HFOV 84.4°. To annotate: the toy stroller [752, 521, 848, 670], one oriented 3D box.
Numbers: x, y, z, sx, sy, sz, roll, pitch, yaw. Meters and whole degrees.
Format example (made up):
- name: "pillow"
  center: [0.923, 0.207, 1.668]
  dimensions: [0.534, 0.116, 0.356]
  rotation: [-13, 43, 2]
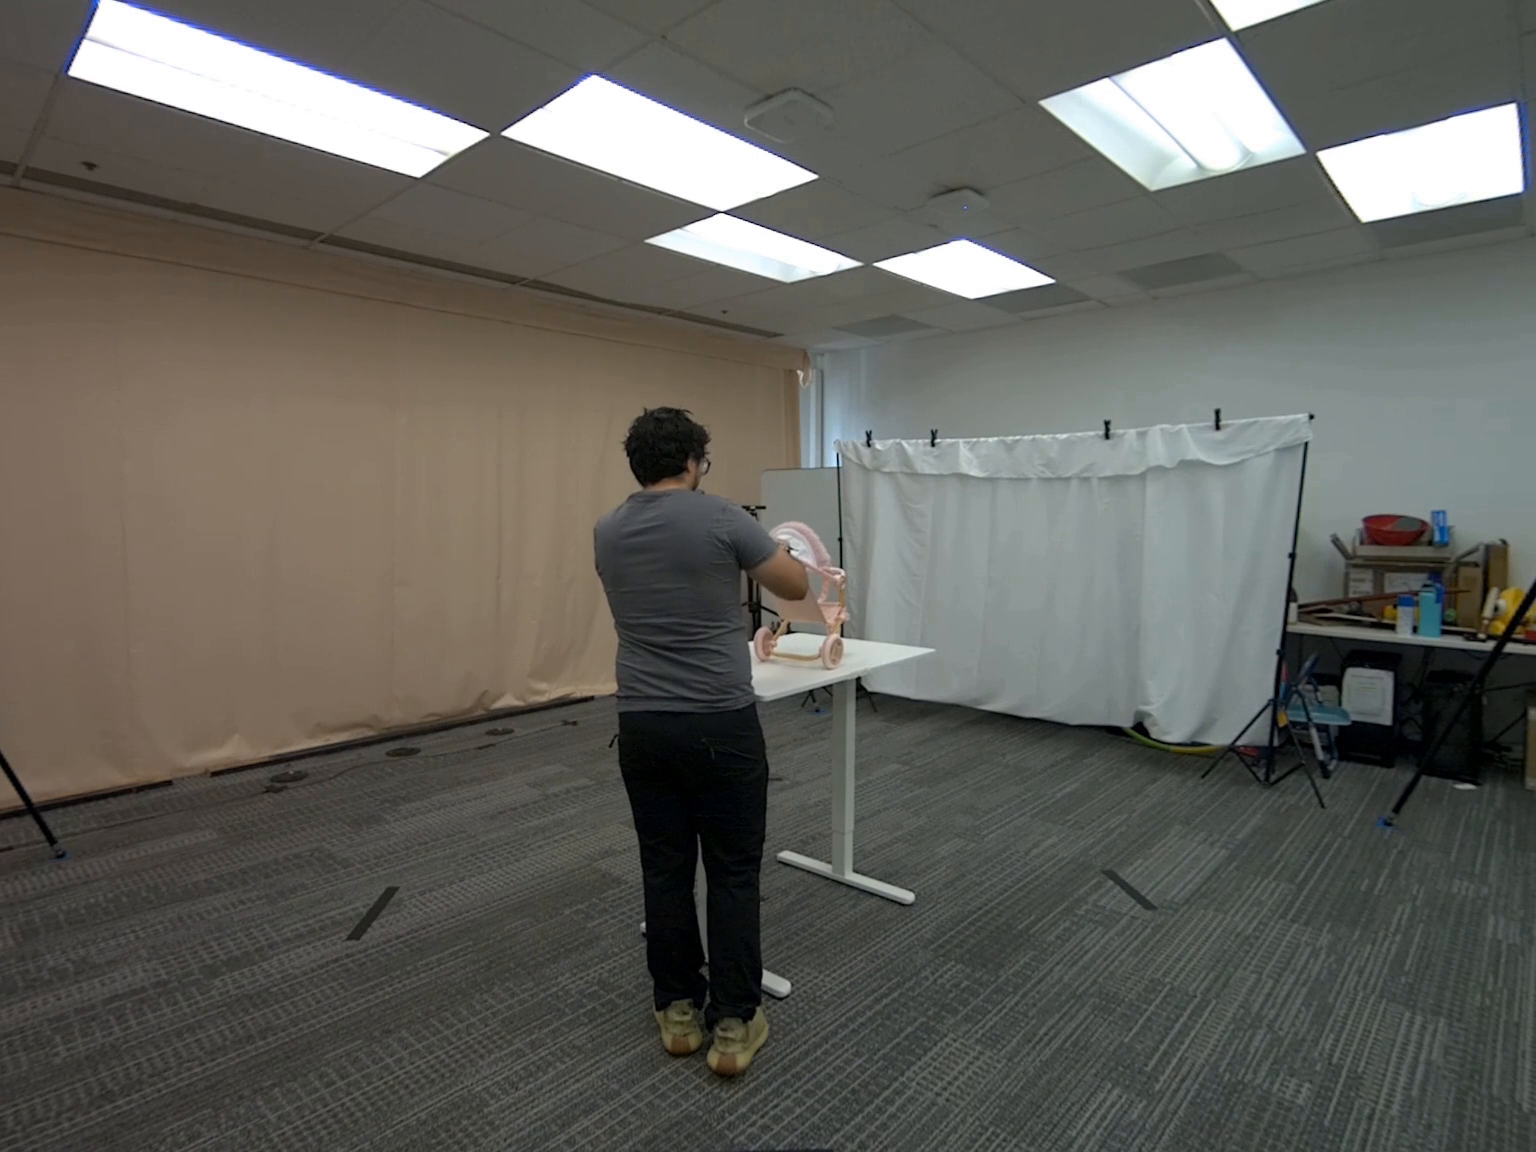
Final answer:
- name: "toy stroller"
  center: [0.115, 0.054, 2.702]
  dimensions: [0.290, 0.524, 0.337]
  rotation: [4, 30, 37]
